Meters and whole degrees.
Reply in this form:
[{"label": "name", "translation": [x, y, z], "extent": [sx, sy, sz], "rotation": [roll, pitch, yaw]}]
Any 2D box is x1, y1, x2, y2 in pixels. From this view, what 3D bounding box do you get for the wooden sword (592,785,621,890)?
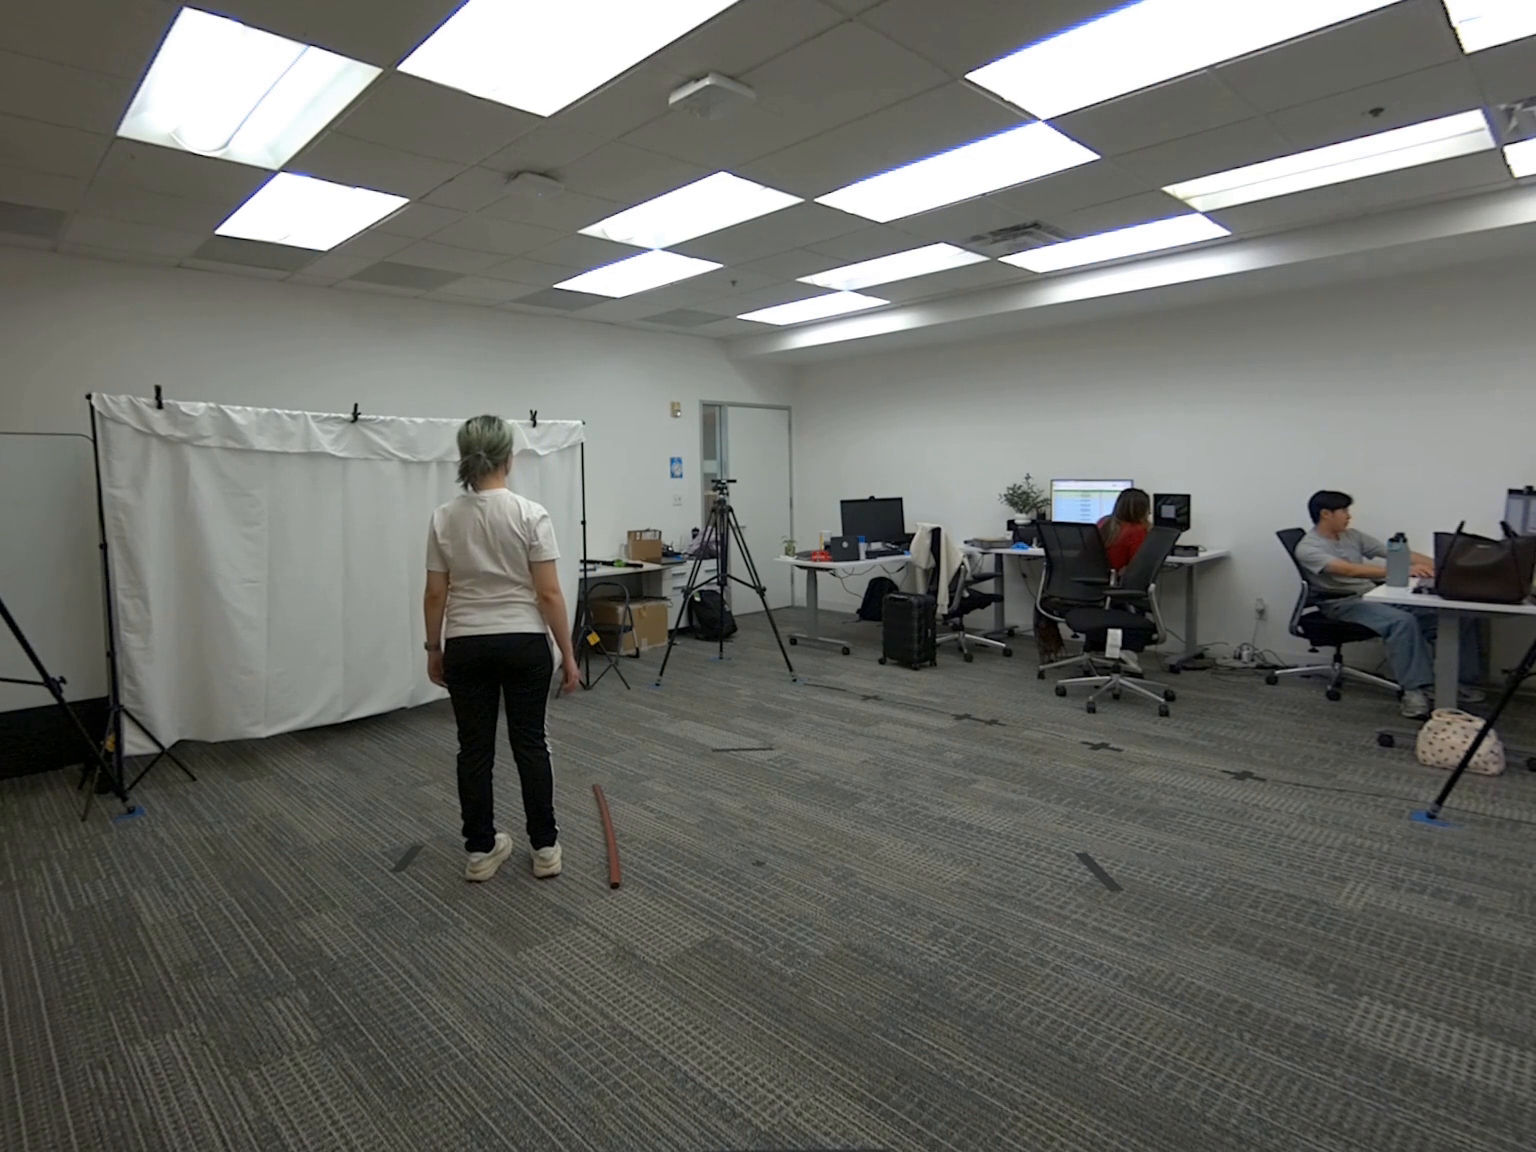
[{"label": "wooden sword", "translation": [-0.646, 1.001, 3.428], "extent": [0.051, 0.024, 1.041], "rotation": [-9, 7, -14]}]
